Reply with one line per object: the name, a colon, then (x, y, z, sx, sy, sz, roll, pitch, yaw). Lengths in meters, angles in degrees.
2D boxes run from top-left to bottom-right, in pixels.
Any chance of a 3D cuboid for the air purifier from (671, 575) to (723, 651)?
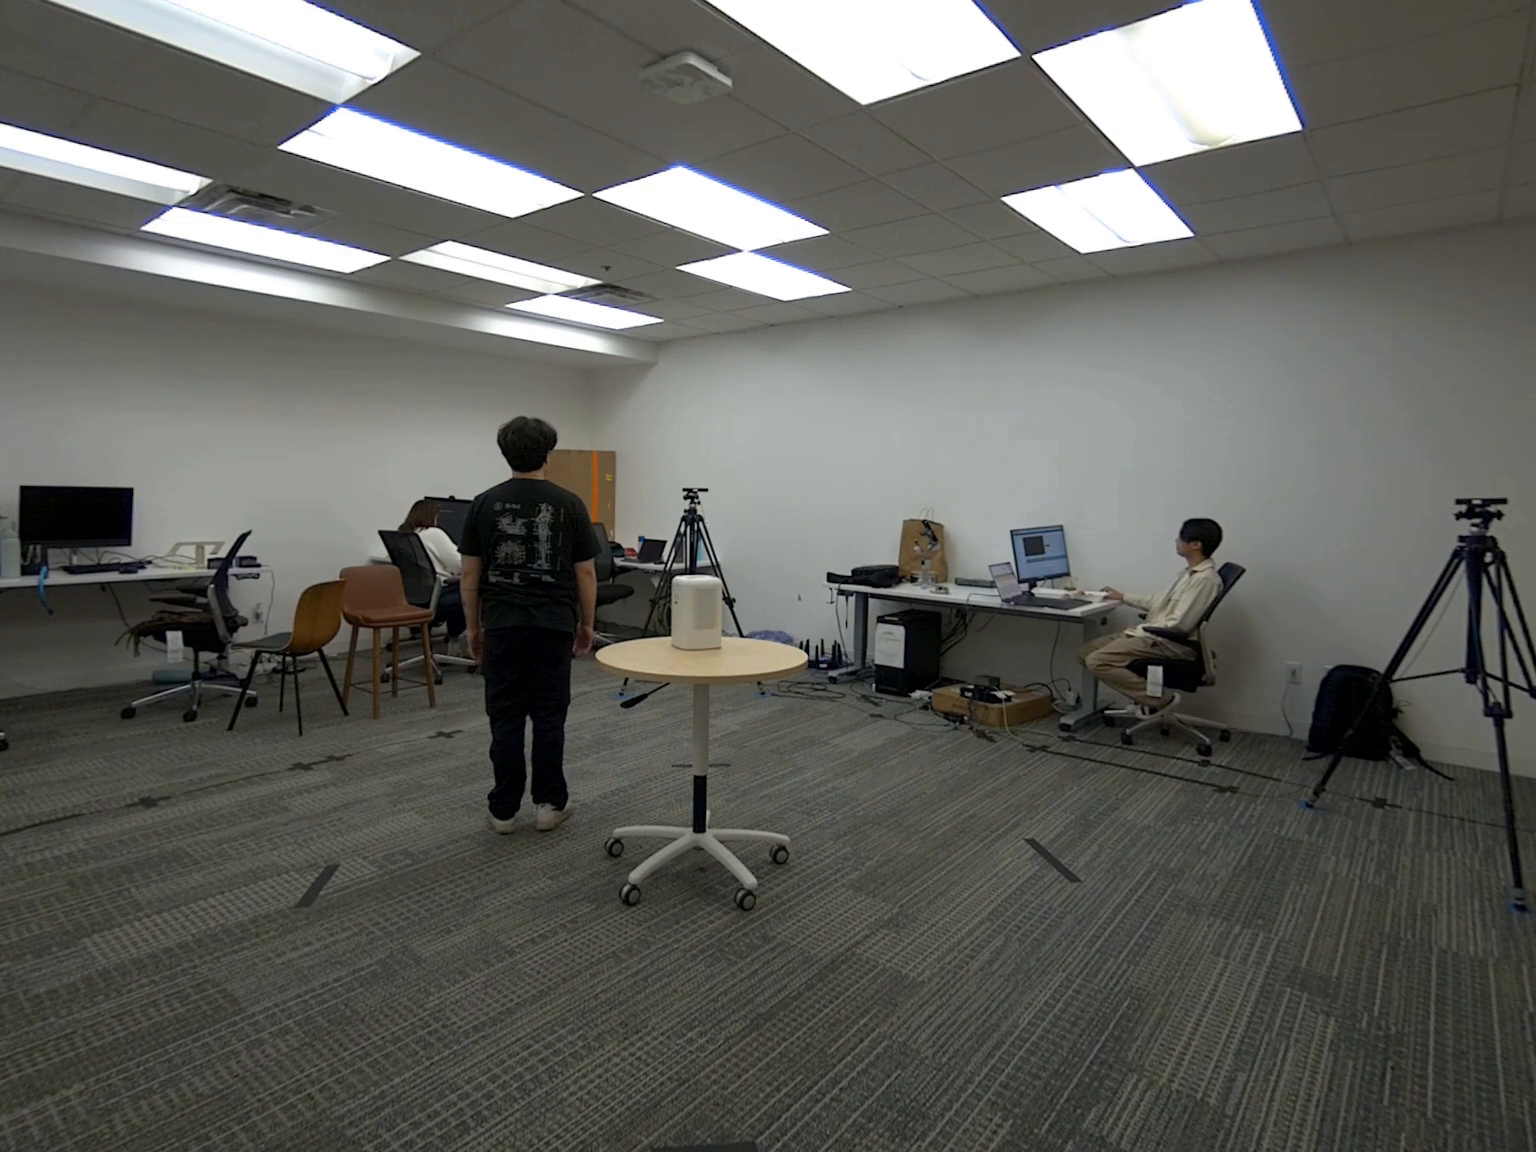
air purifier: (-0.284, 0.133, 3.233, 0.167, 0.265, 0.176, -2, 3, -28)
